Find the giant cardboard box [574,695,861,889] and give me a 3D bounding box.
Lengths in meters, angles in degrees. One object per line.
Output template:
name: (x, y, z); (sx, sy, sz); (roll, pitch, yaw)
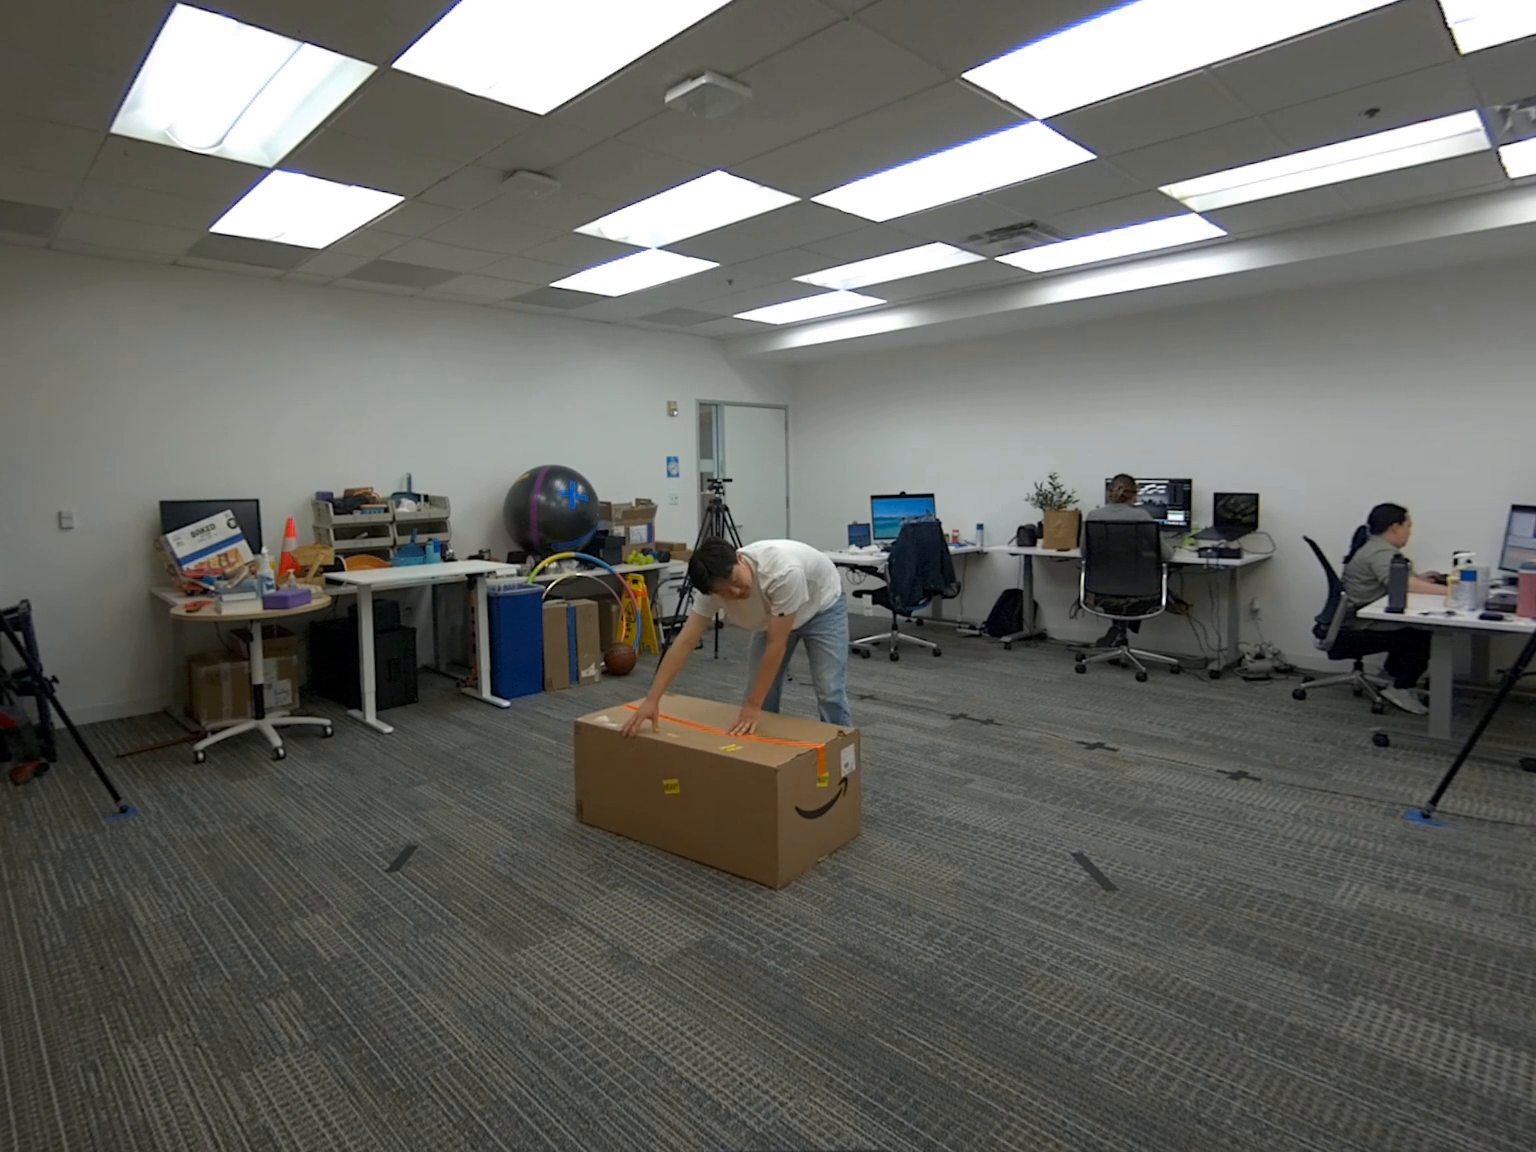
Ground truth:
giant cardboard box: (-0.219, 0.800, 3.426); (1.056, 0.424, 0.563); (4, 7, 38)
